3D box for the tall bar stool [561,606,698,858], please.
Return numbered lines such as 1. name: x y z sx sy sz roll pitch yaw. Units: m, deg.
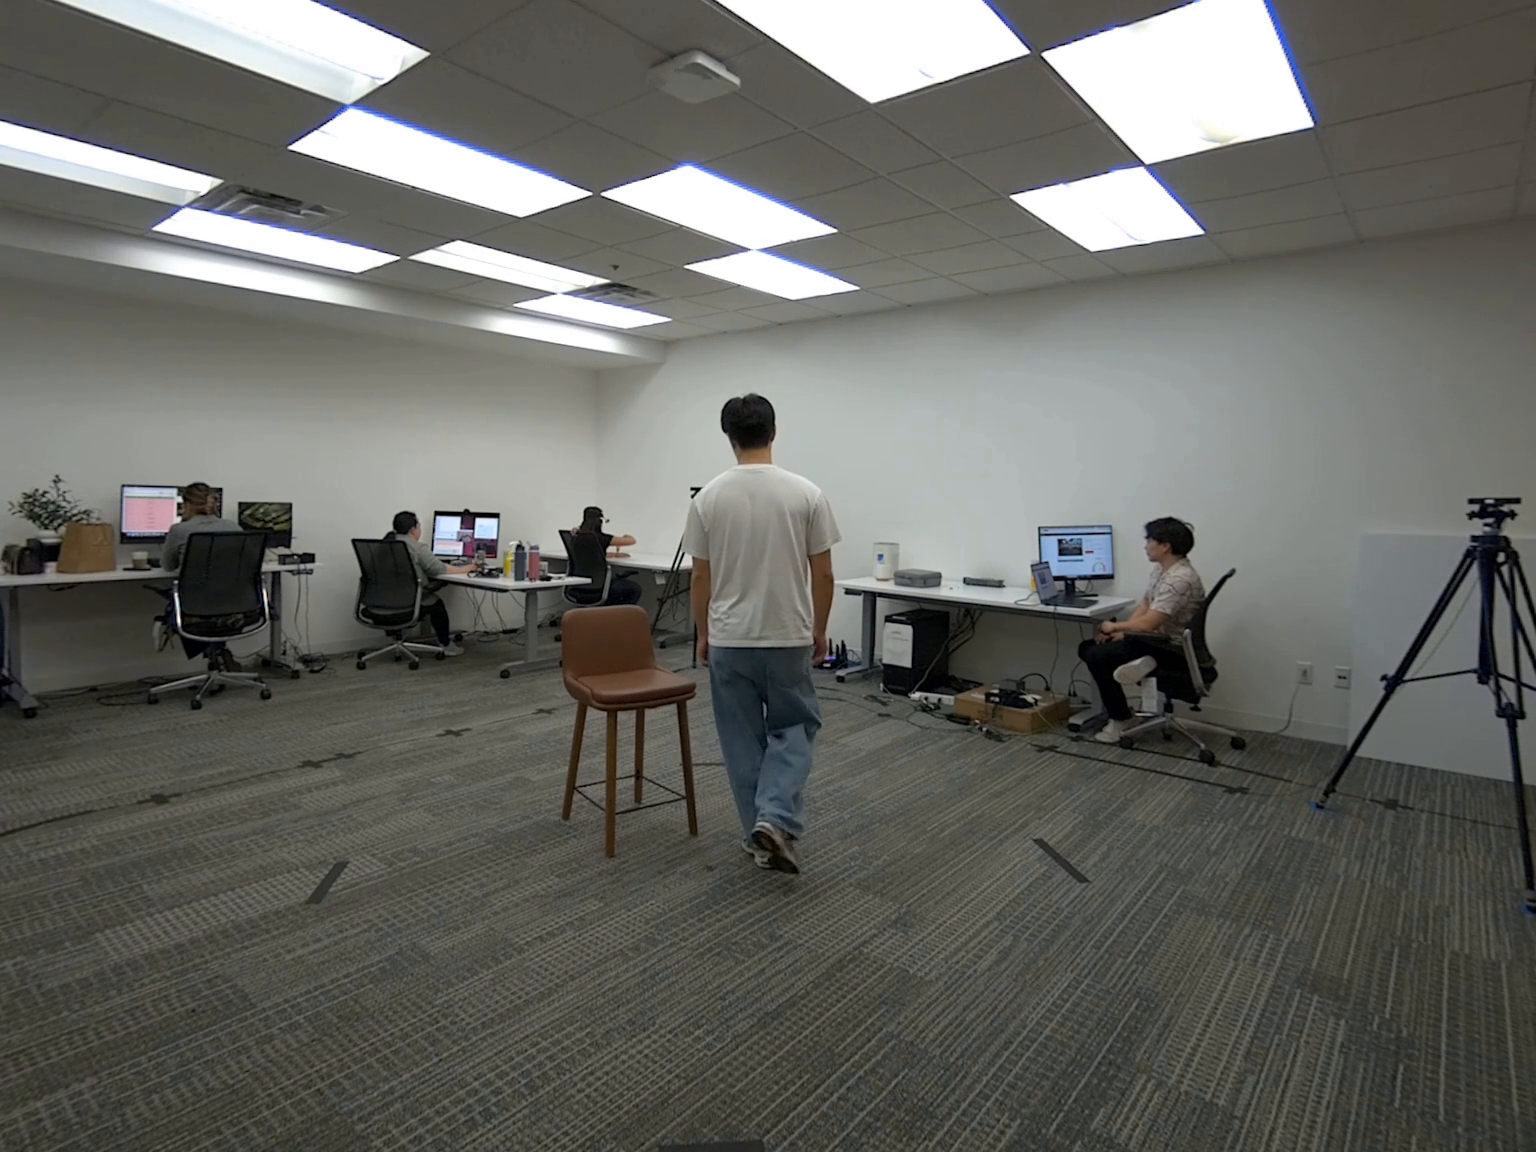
1. tall bar stool: -0.587 0.588 3.466 0.443 0.888 0.482 -1 2 -38
